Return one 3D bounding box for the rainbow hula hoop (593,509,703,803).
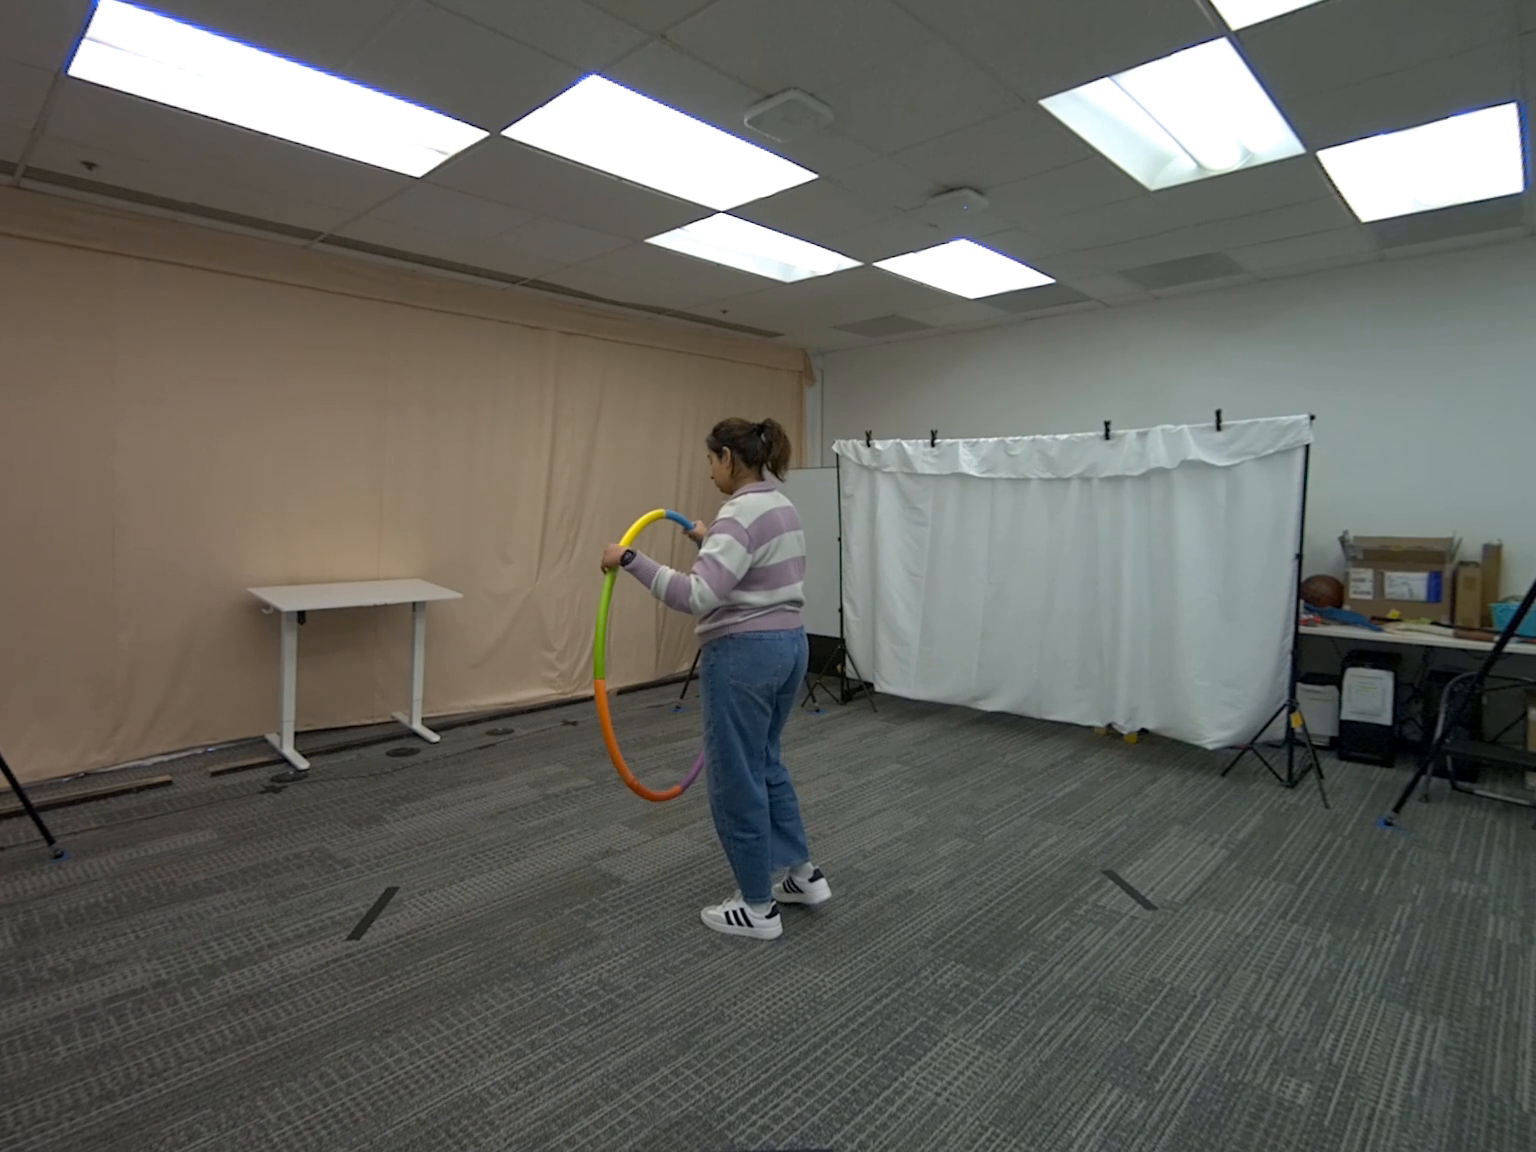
[{"bbox_3d":[-0.334,0.268,2.926,0.036,0.977,0.958,-3,2,21],"label":"rainbow hula hoop"}]
